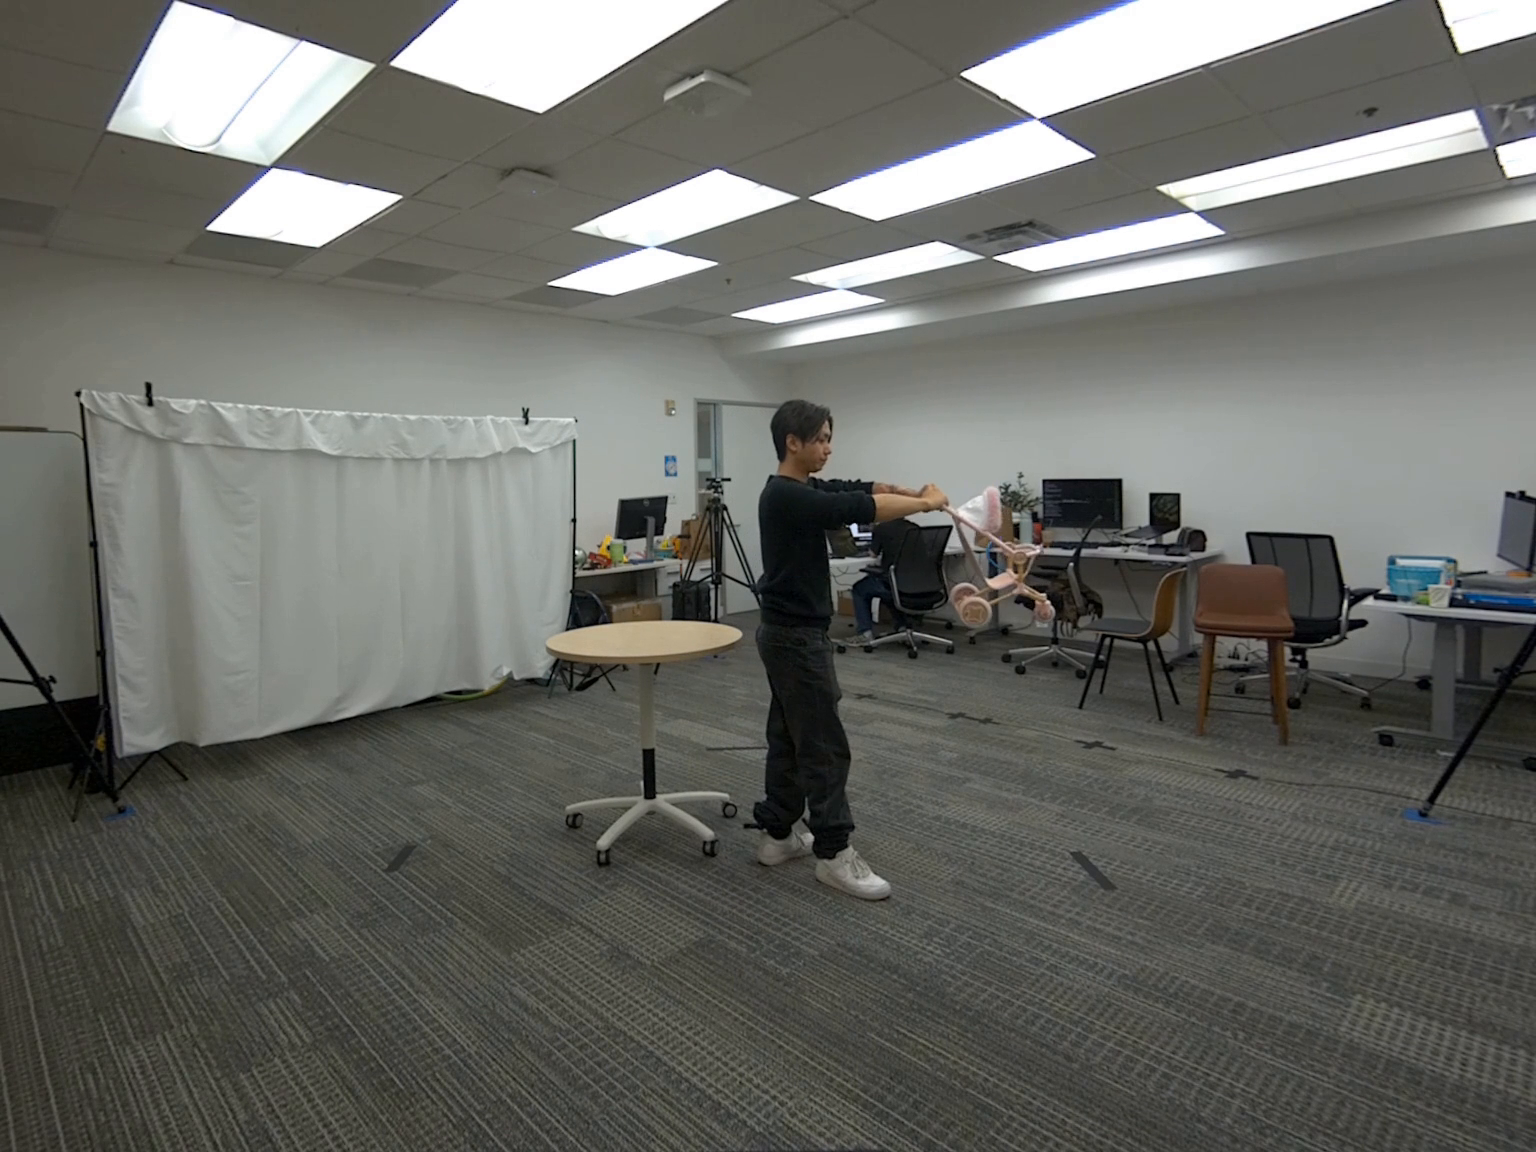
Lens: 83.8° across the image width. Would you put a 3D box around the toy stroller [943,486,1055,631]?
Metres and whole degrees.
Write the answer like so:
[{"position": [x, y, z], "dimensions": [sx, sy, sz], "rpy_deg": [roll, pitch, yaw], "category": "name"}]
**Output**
[{"position": [0.772, -0.065, 2.954], "dimensions": [0.345, 0.532, 0.280], "rpy_deg": [-12, 5, 14], "category": "toy stroller"}]
